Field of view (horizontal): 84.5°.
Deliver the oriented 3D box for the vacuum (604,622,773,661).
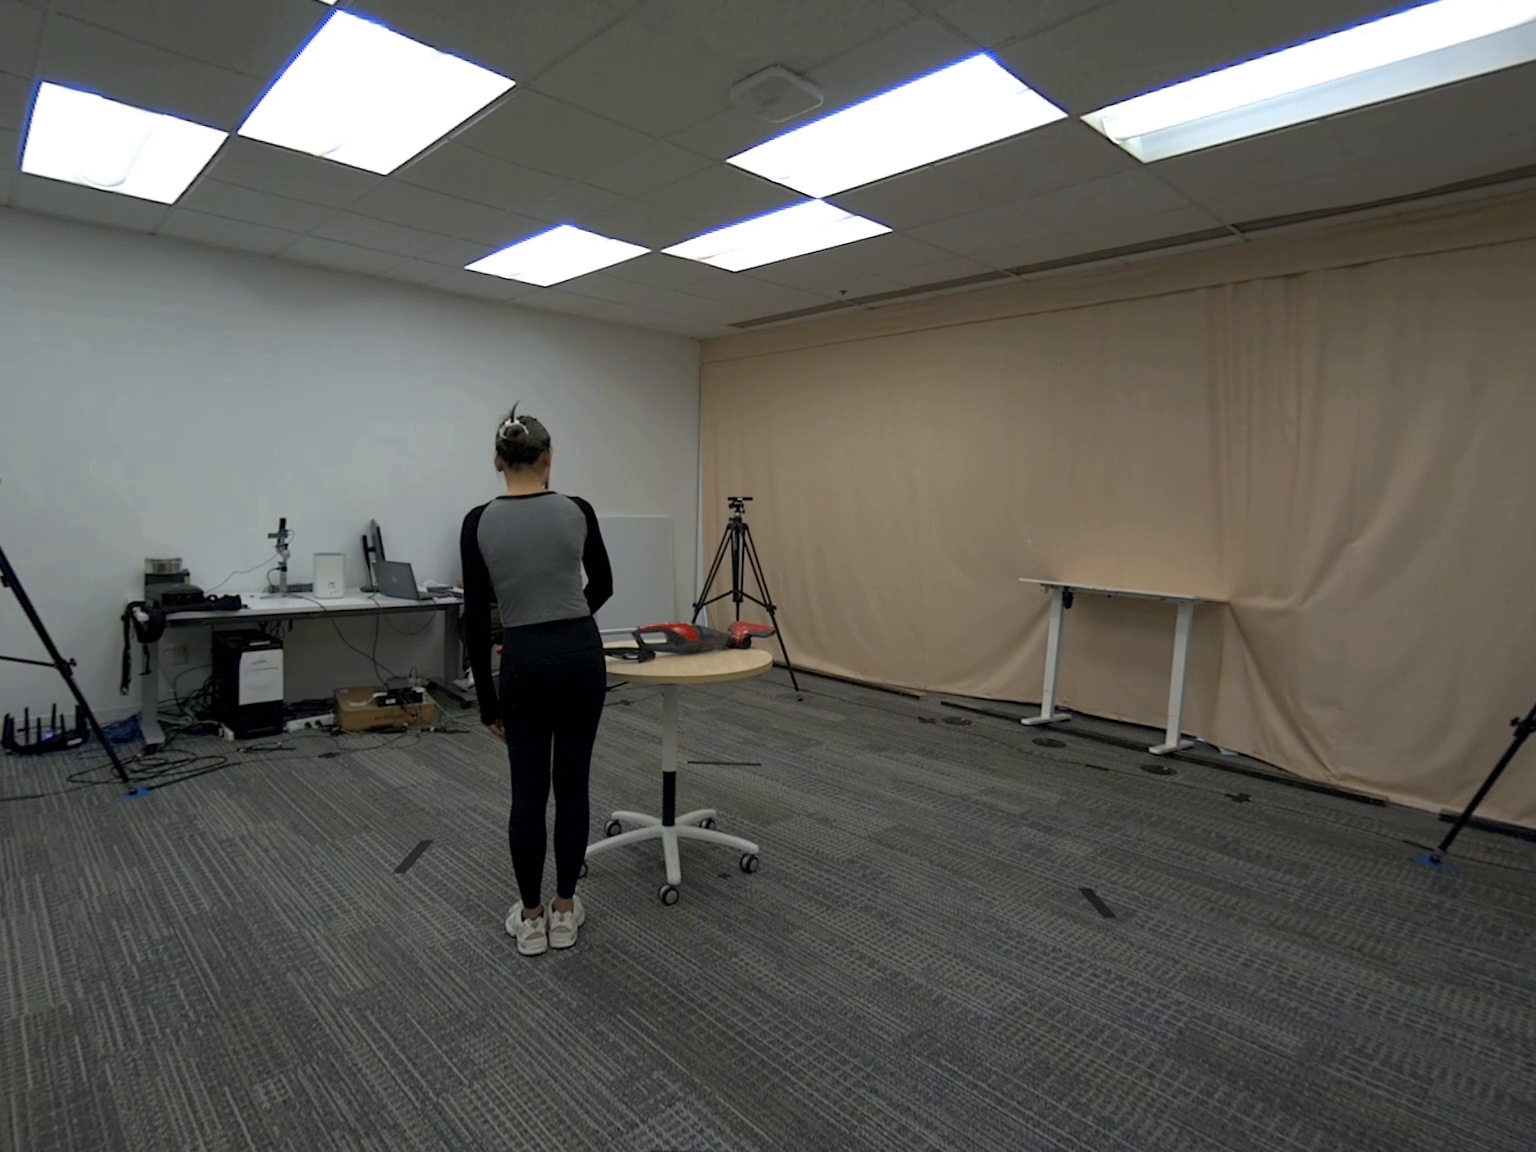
[{"bbox_3d":[-0.482,0.255,3.098,1.024,0.144,0.259,0,4,-43],"label":"vacuum"}]
